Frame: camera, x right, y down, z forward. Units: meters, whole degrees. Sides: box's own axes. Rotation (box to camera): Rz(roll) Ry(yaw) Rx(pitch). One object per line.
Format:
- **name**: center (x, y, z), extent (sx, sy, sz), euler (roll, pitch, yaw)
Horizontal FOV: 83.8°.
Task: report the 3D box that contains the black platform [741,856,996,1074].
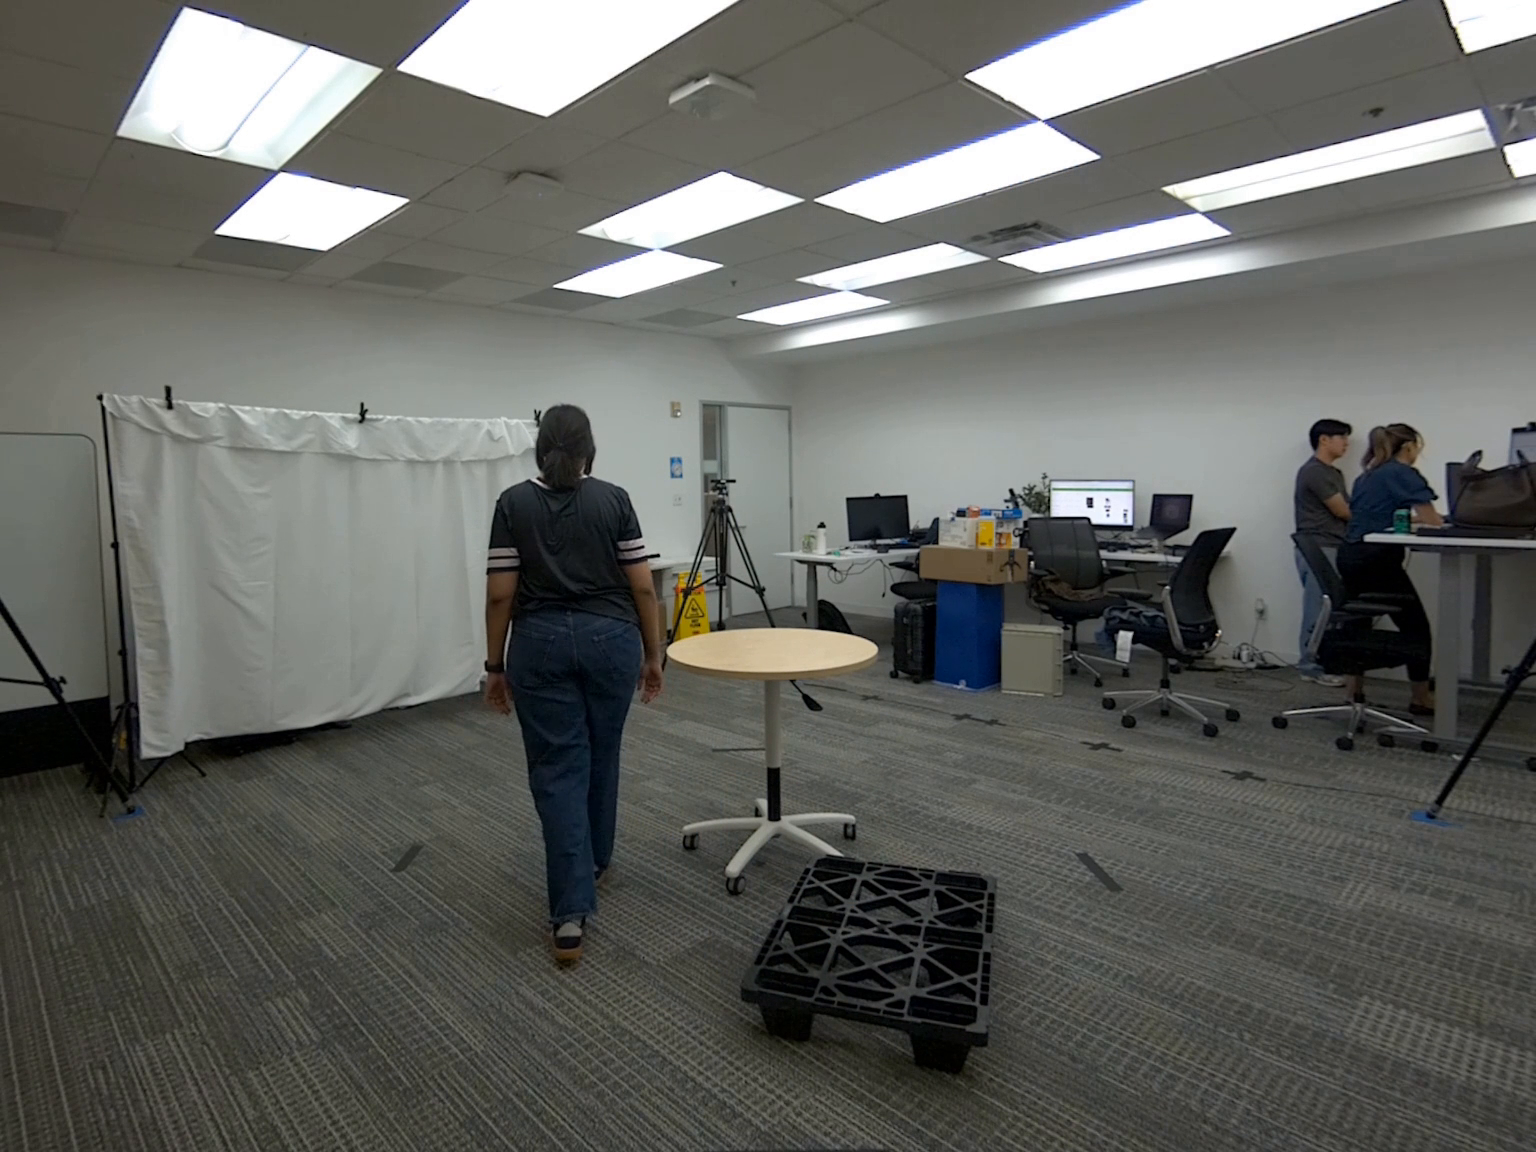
- **black platform**: center (0.321, 1.051, 2.412), extent (0.616, 0.143, 0.795), euler (0, 7, 17)
